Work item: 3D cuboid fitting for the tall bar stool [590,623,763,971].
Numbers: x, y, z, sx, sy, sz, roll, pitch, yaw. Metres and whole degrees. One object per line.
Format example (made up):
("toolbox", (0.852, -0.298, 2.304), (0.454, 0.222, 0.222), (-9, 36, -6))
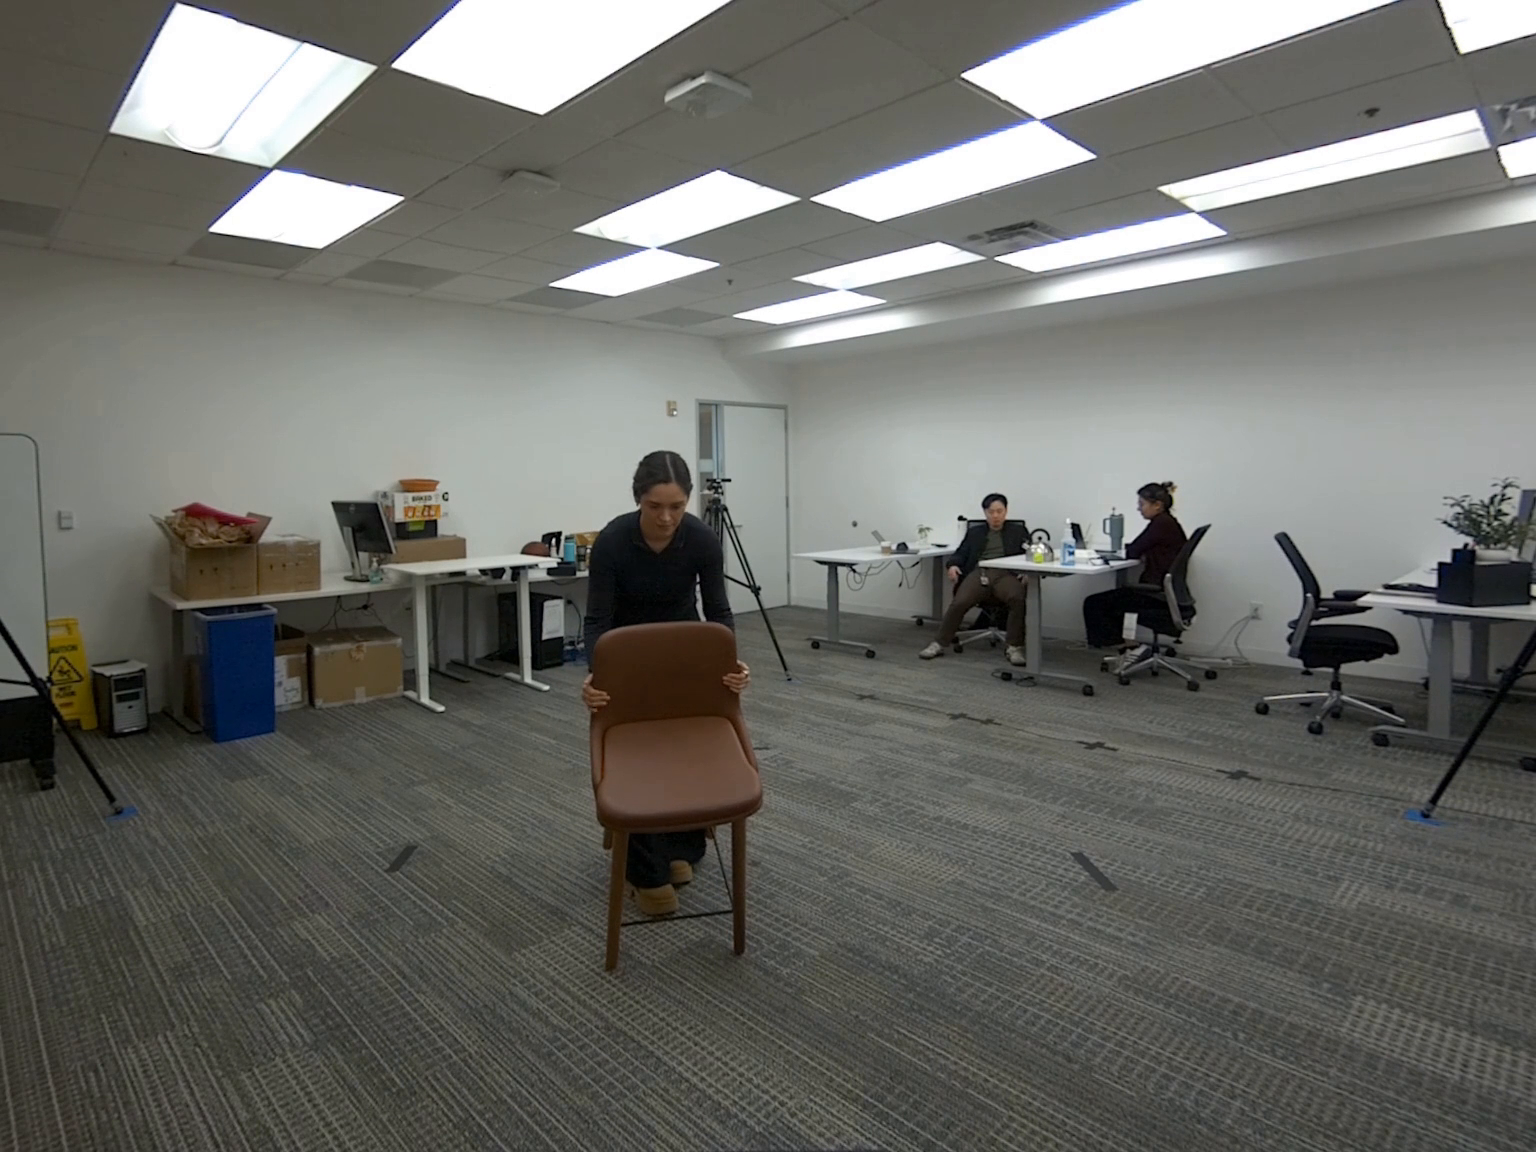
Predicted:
("tall bar stool", (-0.276, 0.637, 2.454), (0.451, 0.871, 0.483), (-4, 30, -14))
